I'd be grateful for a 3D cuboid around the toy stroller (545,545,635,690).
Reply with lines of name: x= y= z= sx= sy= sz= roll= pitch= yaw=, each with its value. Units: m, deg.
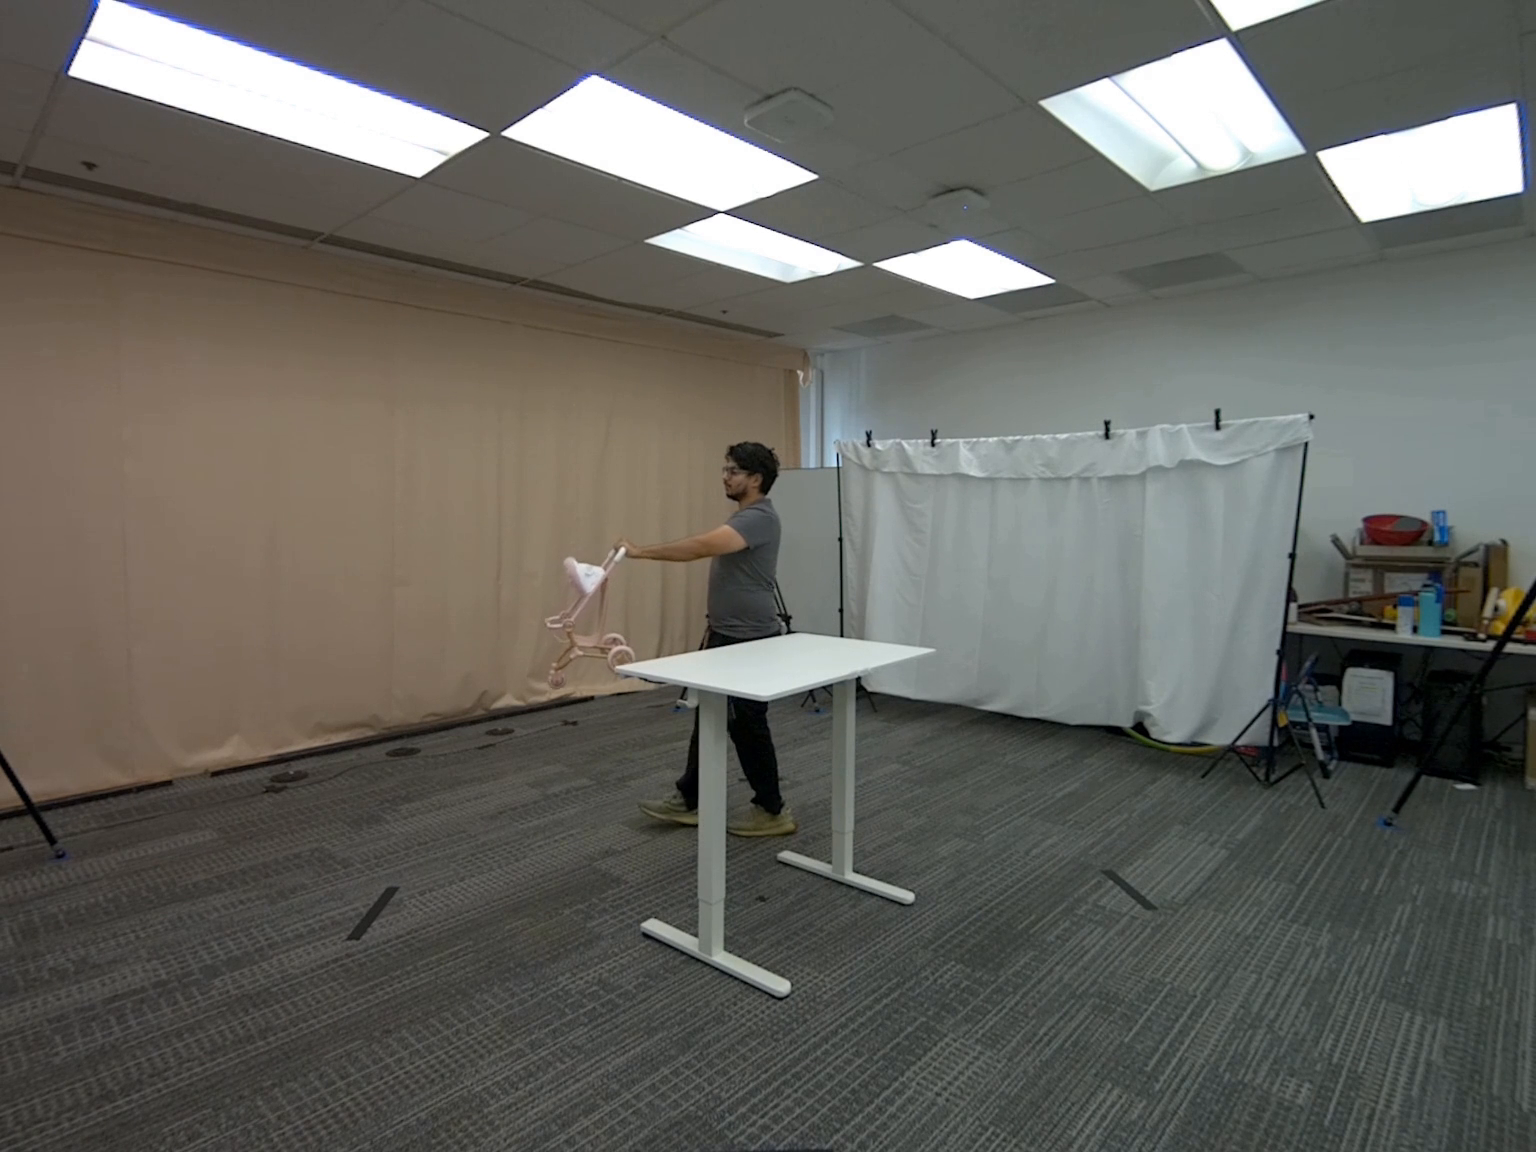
toy stroller: x=-0.715 y=0.161 z=3.273 sx=0.337 sy=0.533 sz=0.286 roll=-4 pitch=6 yaw=-12
